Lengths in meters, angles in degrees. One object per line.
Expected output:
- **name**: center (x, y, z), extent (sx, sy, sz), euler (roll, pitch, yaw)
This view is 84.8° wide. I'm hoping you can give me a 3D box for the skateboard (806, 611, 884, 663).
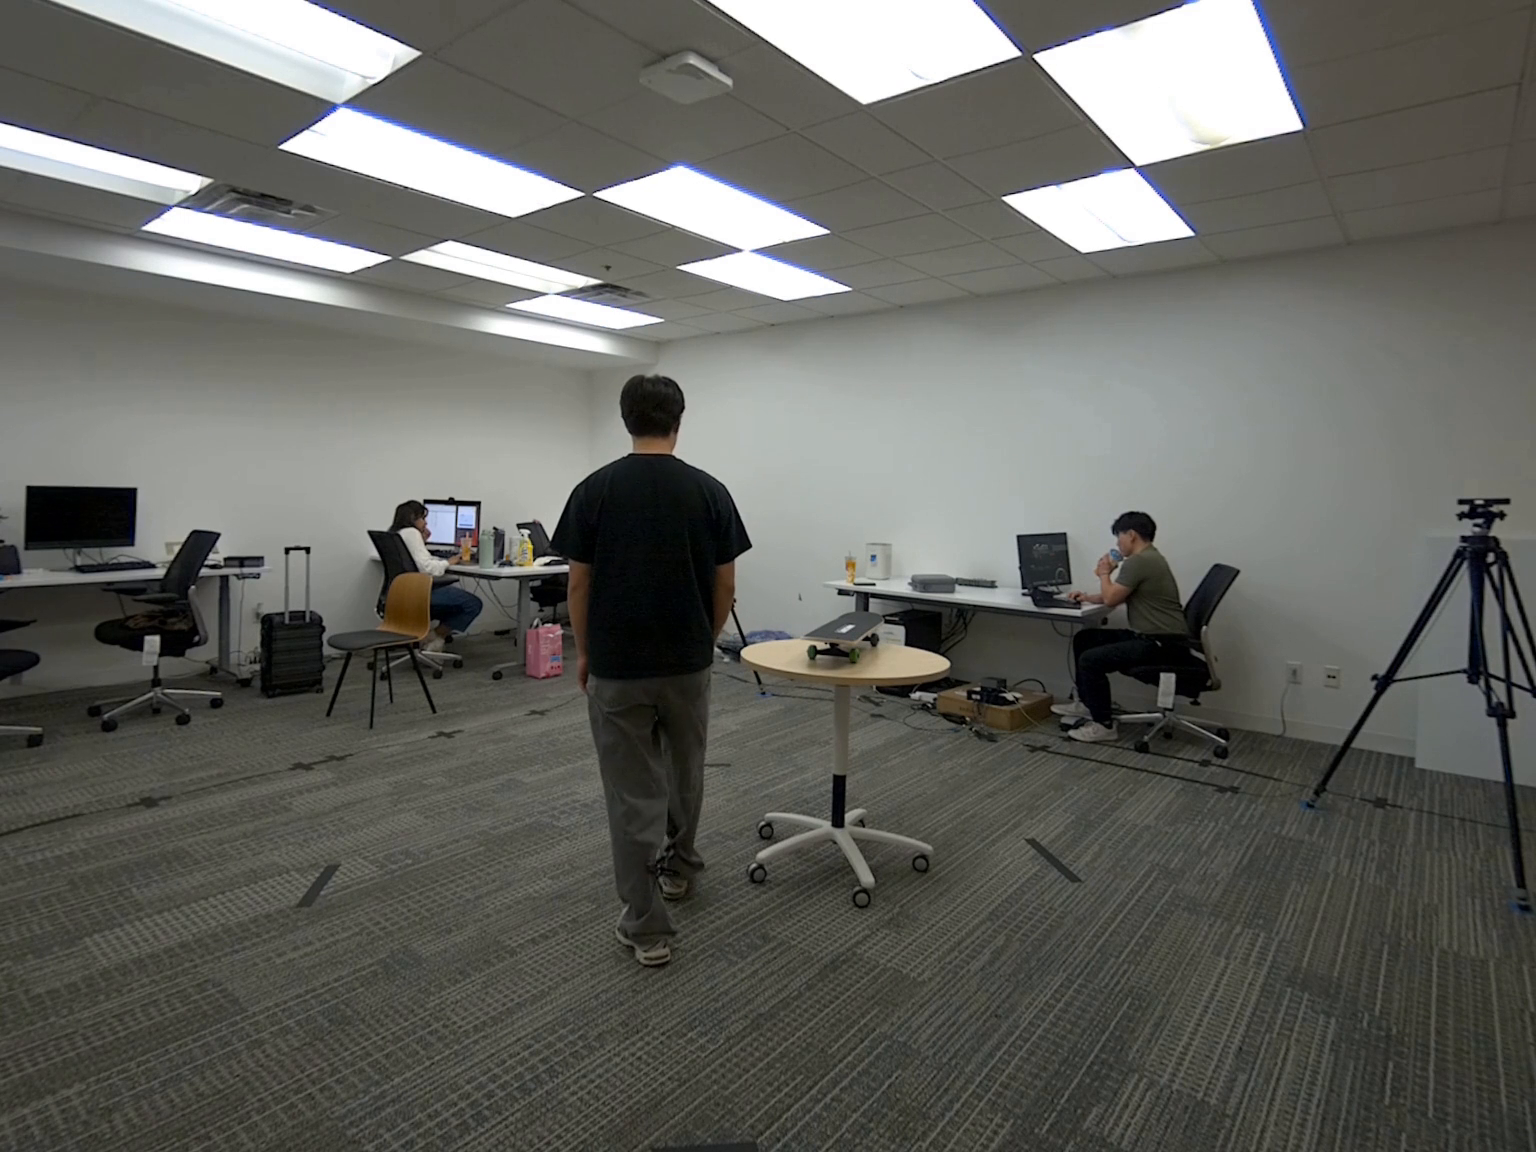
- **skateboard**: center (0.291, 0.237, 3.246), extent (0.198, 0.110, 0.772), euler (5, 7, 18)
